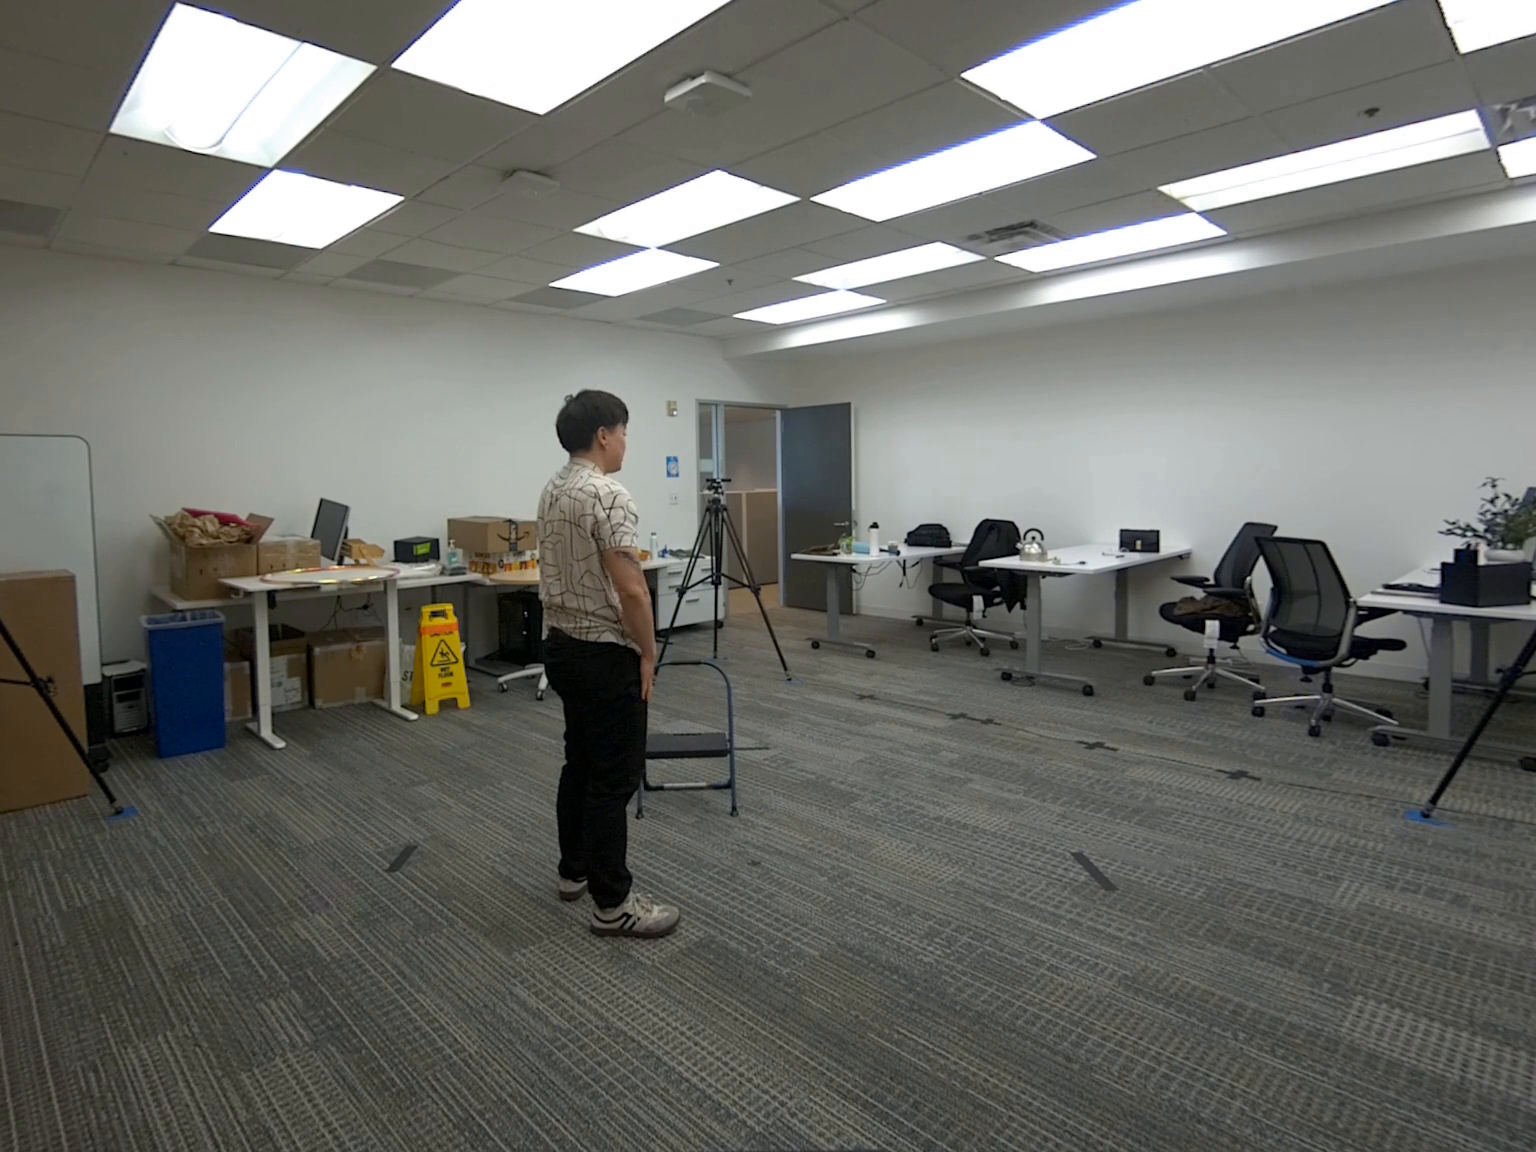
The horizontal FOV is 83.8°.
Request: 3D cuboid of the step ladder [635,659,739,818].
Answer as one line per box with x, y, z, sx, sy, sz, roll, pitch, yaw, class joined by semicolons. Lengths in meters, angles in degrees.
-0.352;0.682;3.706;0.430;0.604;0.351;-1;4;-3;step ladder
